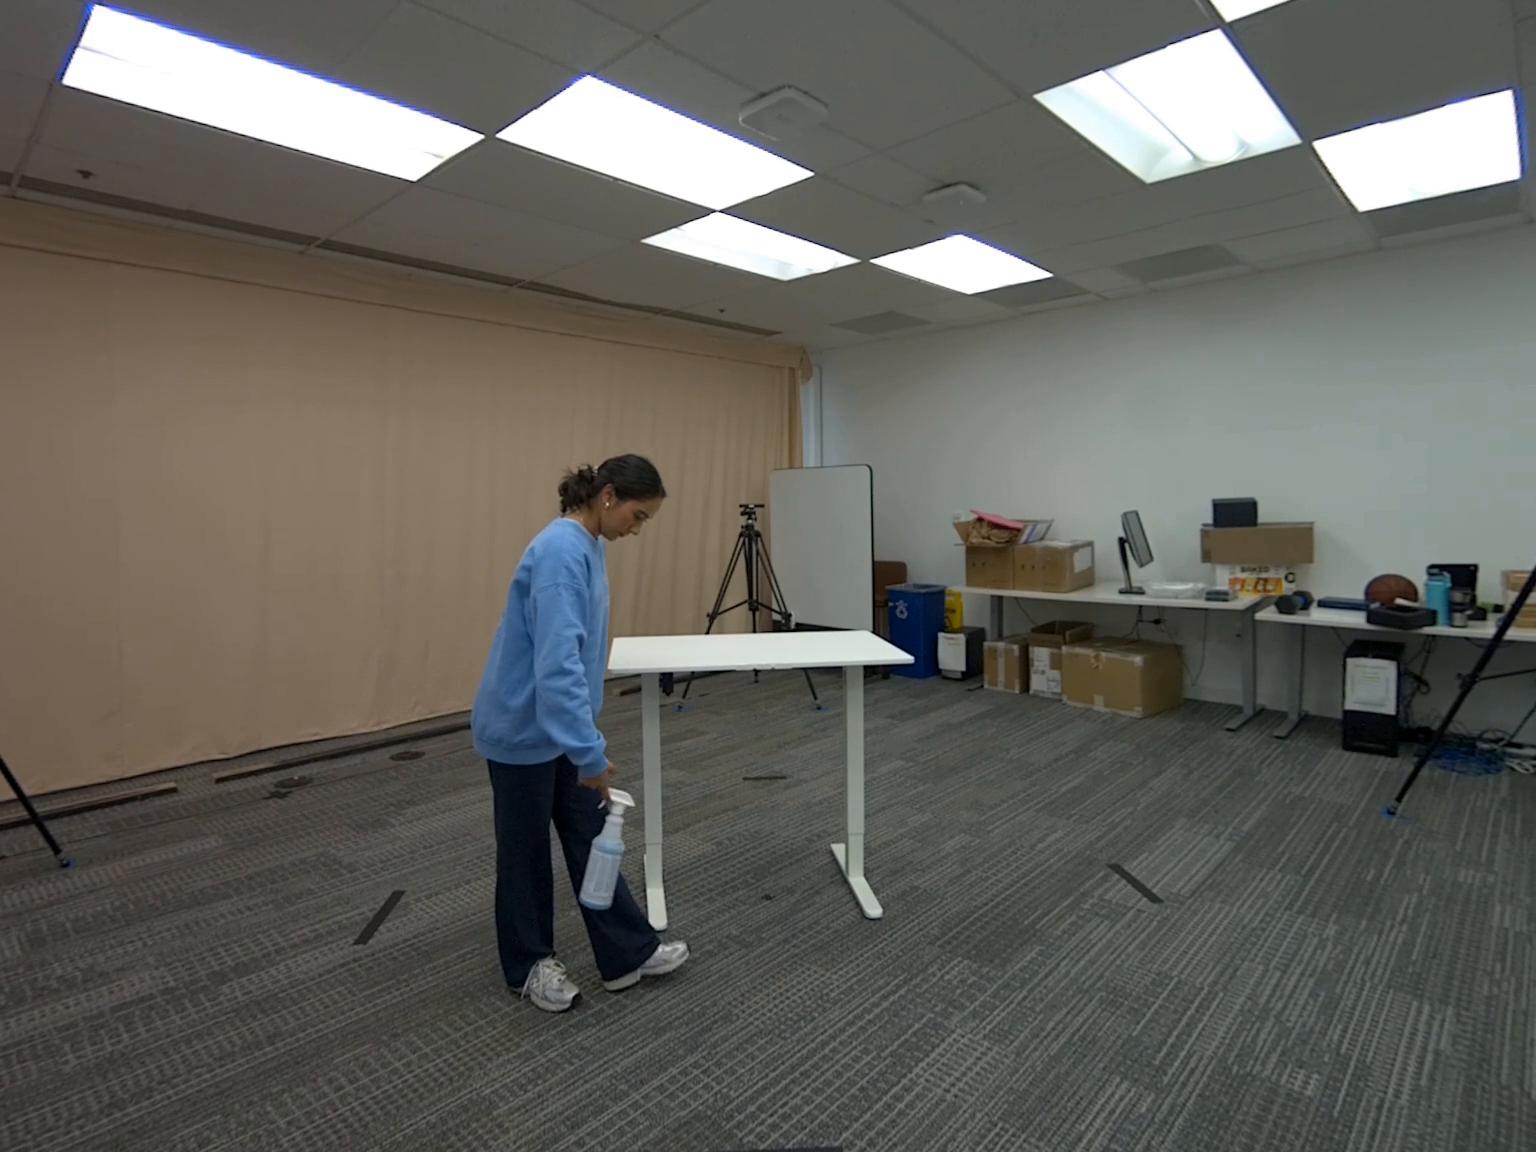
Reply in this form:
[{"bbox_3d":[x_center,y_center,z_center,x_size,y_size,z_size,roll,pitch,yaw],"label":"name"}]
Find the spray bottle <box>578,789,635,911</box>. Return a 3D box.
[{"bbox_3d":[-0.412,0.704,2.193,0.091,0.298,0.086,11,-3,10],"label":"spray bottle"}]
